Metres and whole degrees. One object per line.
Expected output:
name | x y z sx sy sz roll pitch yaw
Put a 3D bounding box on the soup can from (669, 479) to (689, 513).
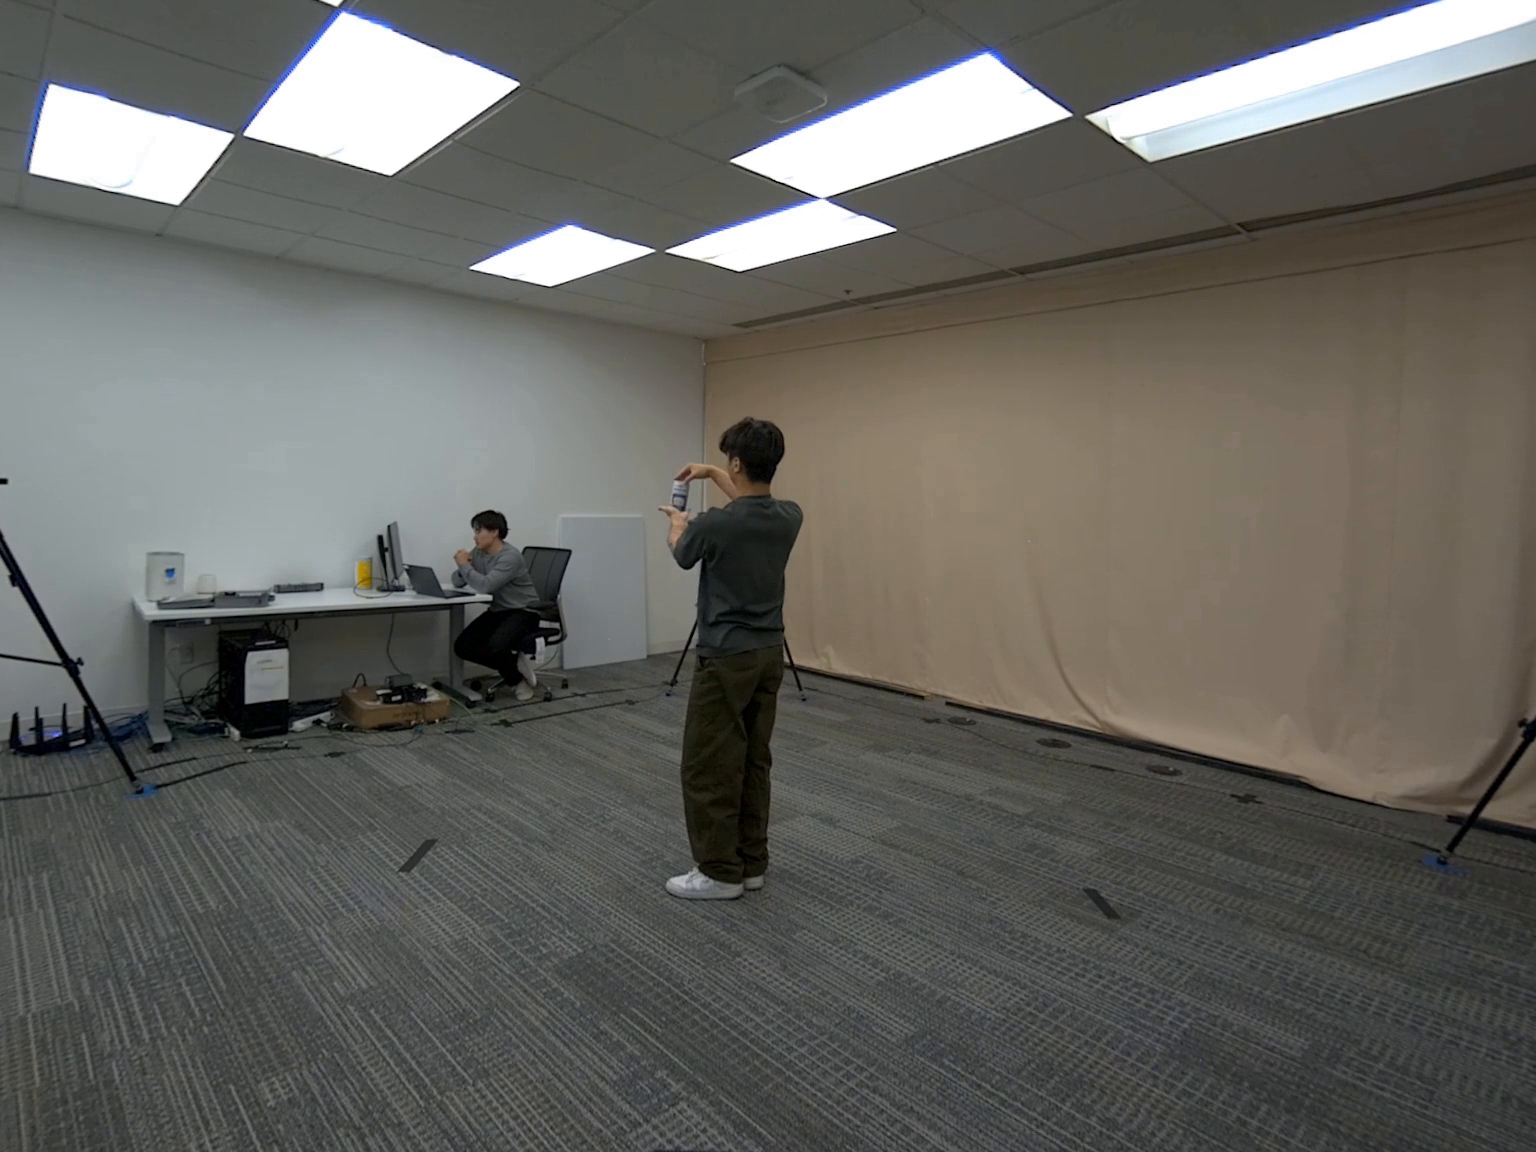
soup can | -0.359 -0.320 3.390 0.067 0.121 0.067 6 4 -2
